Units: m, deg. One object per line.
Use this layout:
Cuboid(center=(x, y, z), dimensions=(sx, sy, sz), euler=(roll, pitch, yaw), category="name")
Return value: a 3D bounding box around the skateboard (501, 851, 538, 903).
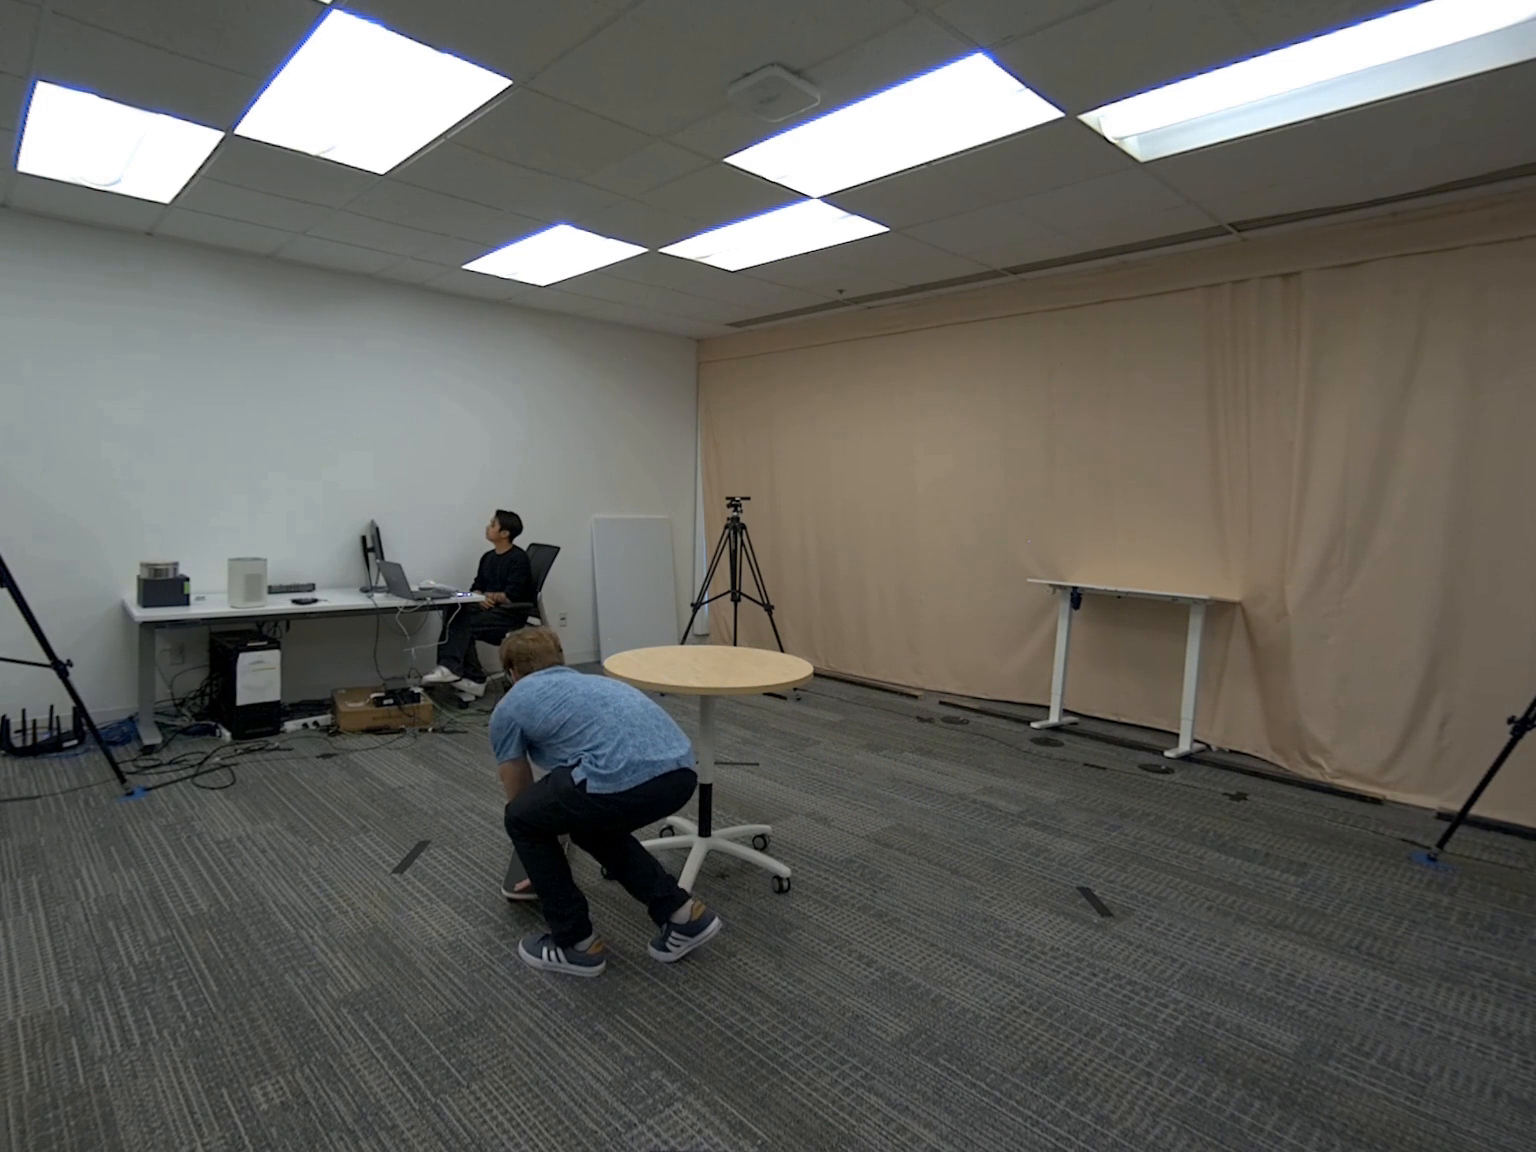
Cuboid(center=(-0.842, 1.043, 3.084), dimensions=(0.192, 0.110, 0.792), euler=(1, 5, -9), category="skateboard")
